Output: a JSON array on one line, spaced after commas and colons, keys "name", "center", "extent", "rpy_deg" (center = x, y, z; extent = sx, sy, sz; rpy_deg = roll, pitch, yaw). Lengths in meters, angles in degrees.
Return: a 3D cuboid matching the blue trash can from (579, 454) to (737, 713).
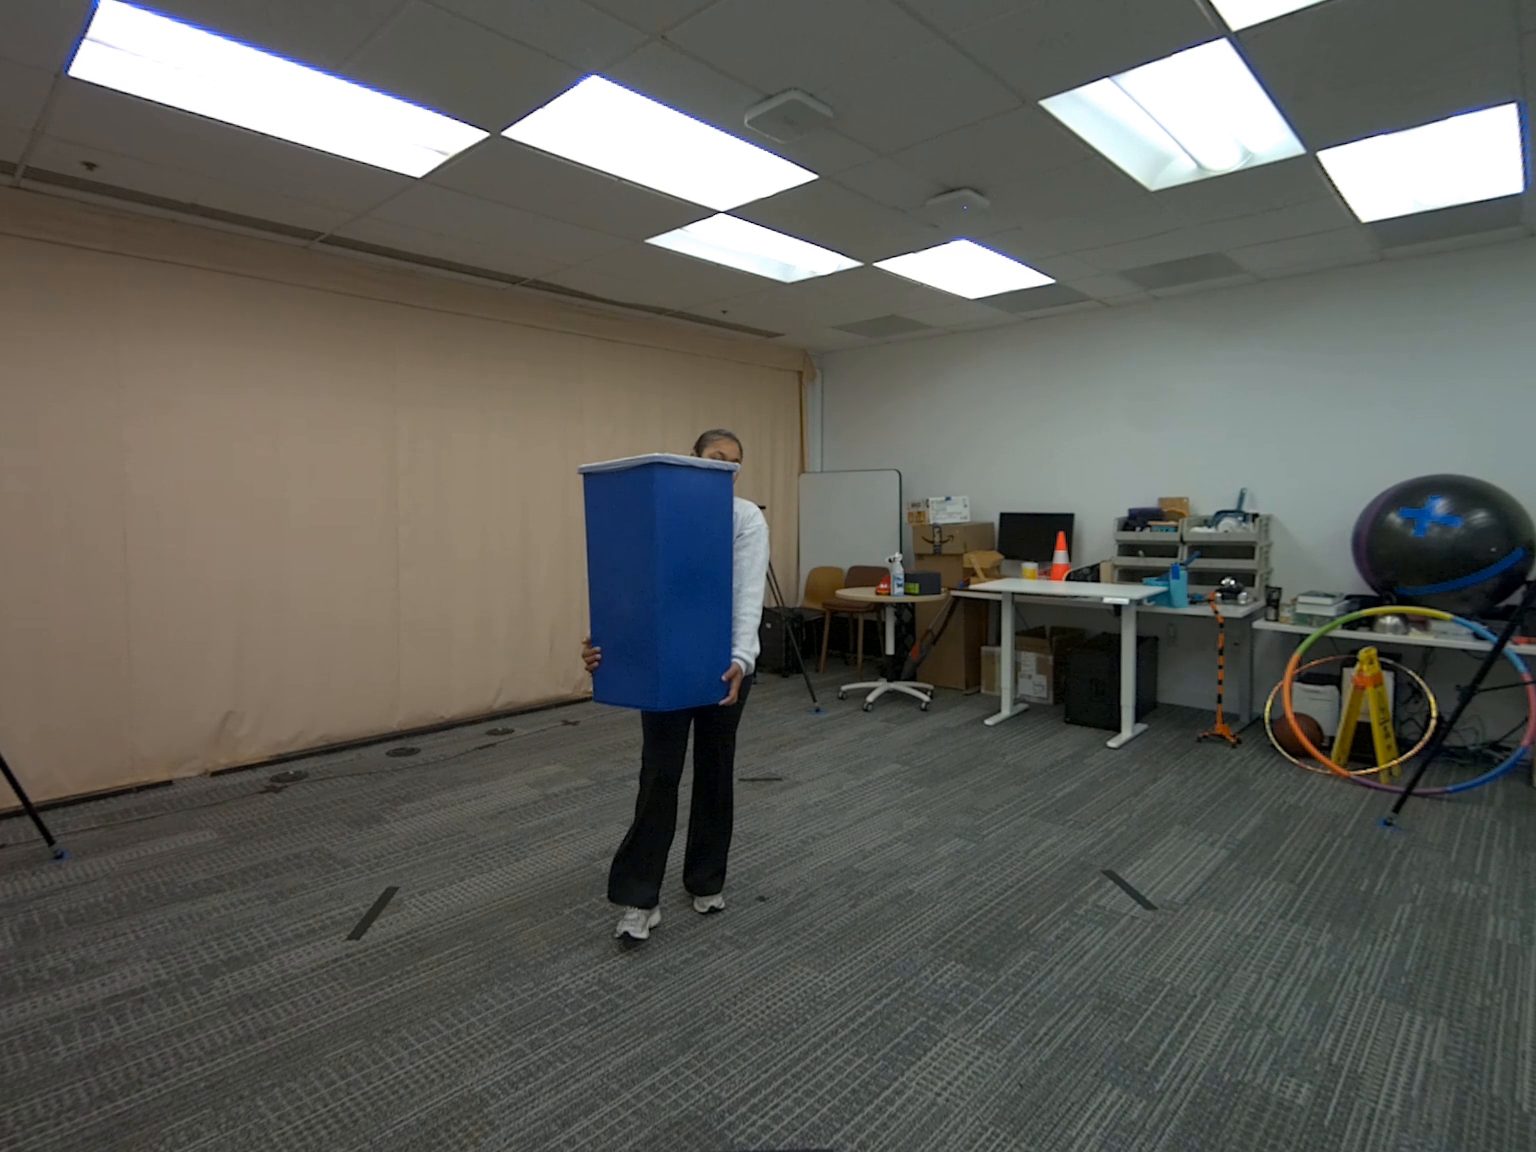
[{"name": "blue trash can", "center": [-0.332, 0.018, 2.538], "extent": [0.386, 0.714, 0.366], "rpy_deg": [-2, -2, 42]}]
